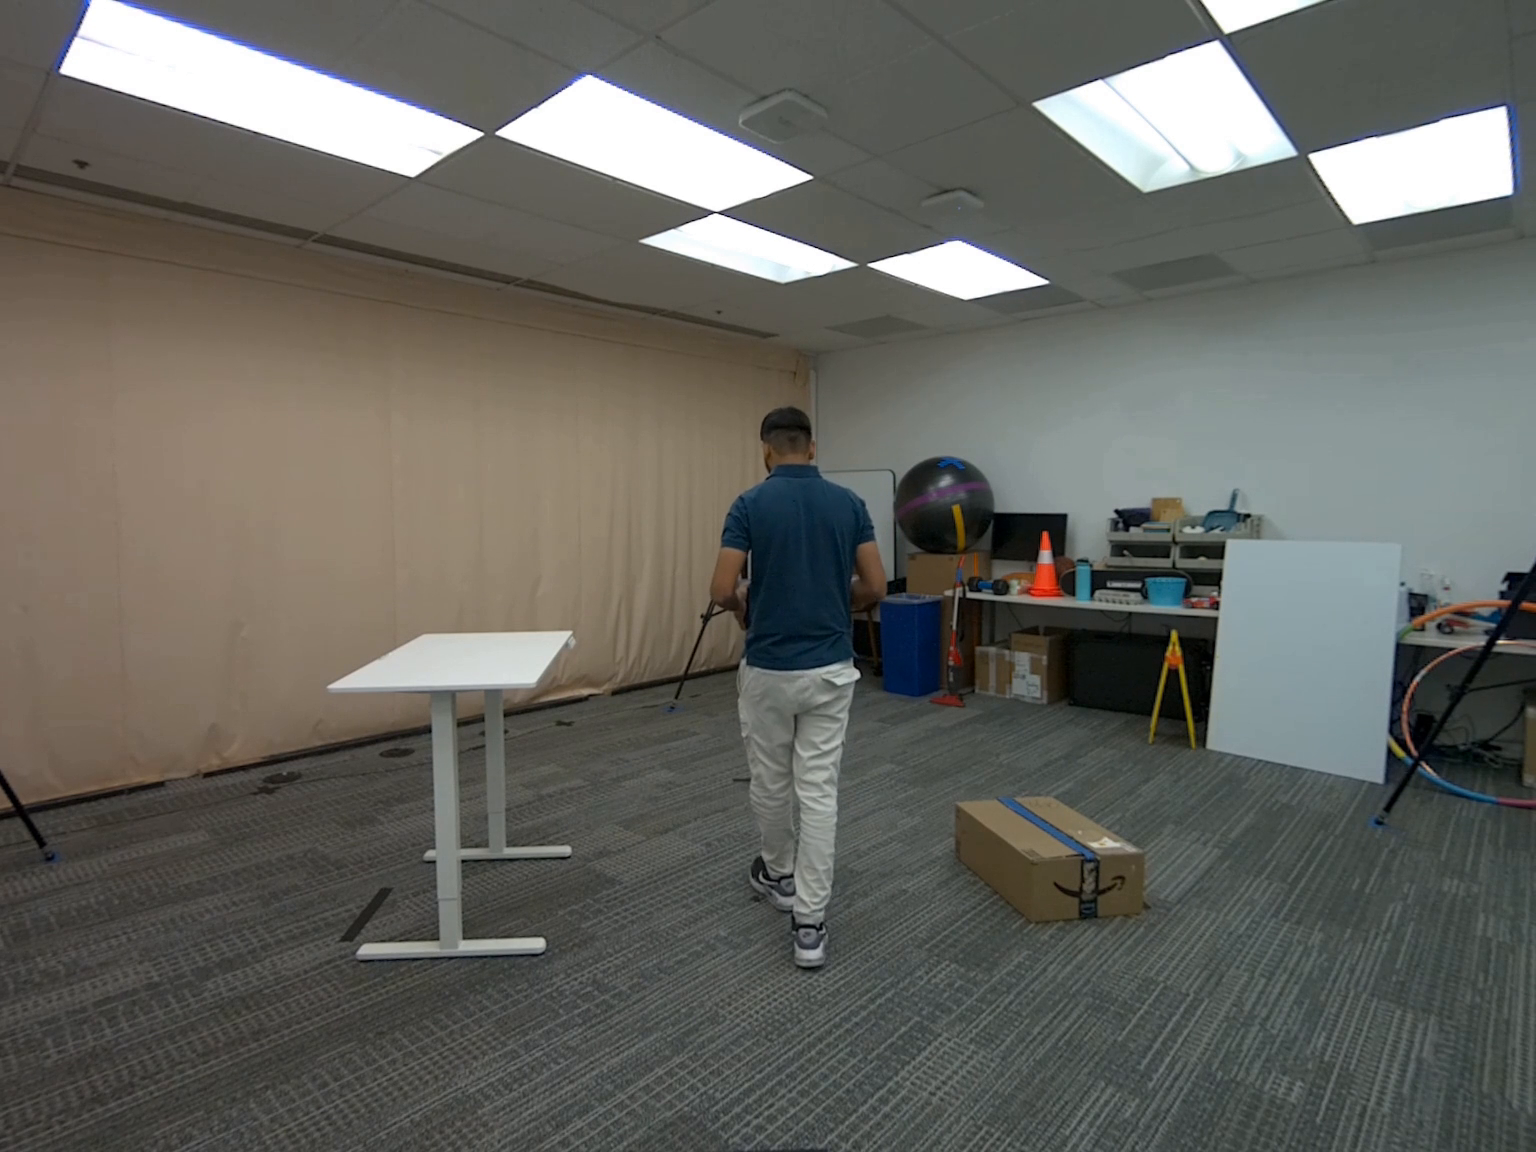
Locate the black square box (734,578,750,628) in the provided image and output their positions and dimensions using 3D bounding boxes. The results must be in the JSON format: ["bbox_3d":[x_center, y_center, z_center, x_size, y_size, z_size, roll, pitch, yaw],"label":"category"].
[{"bbox_3d":[-0.007,0.094,3.100,0.229,0.155,0.217,-3,6,2],"label":"black square box"}]
